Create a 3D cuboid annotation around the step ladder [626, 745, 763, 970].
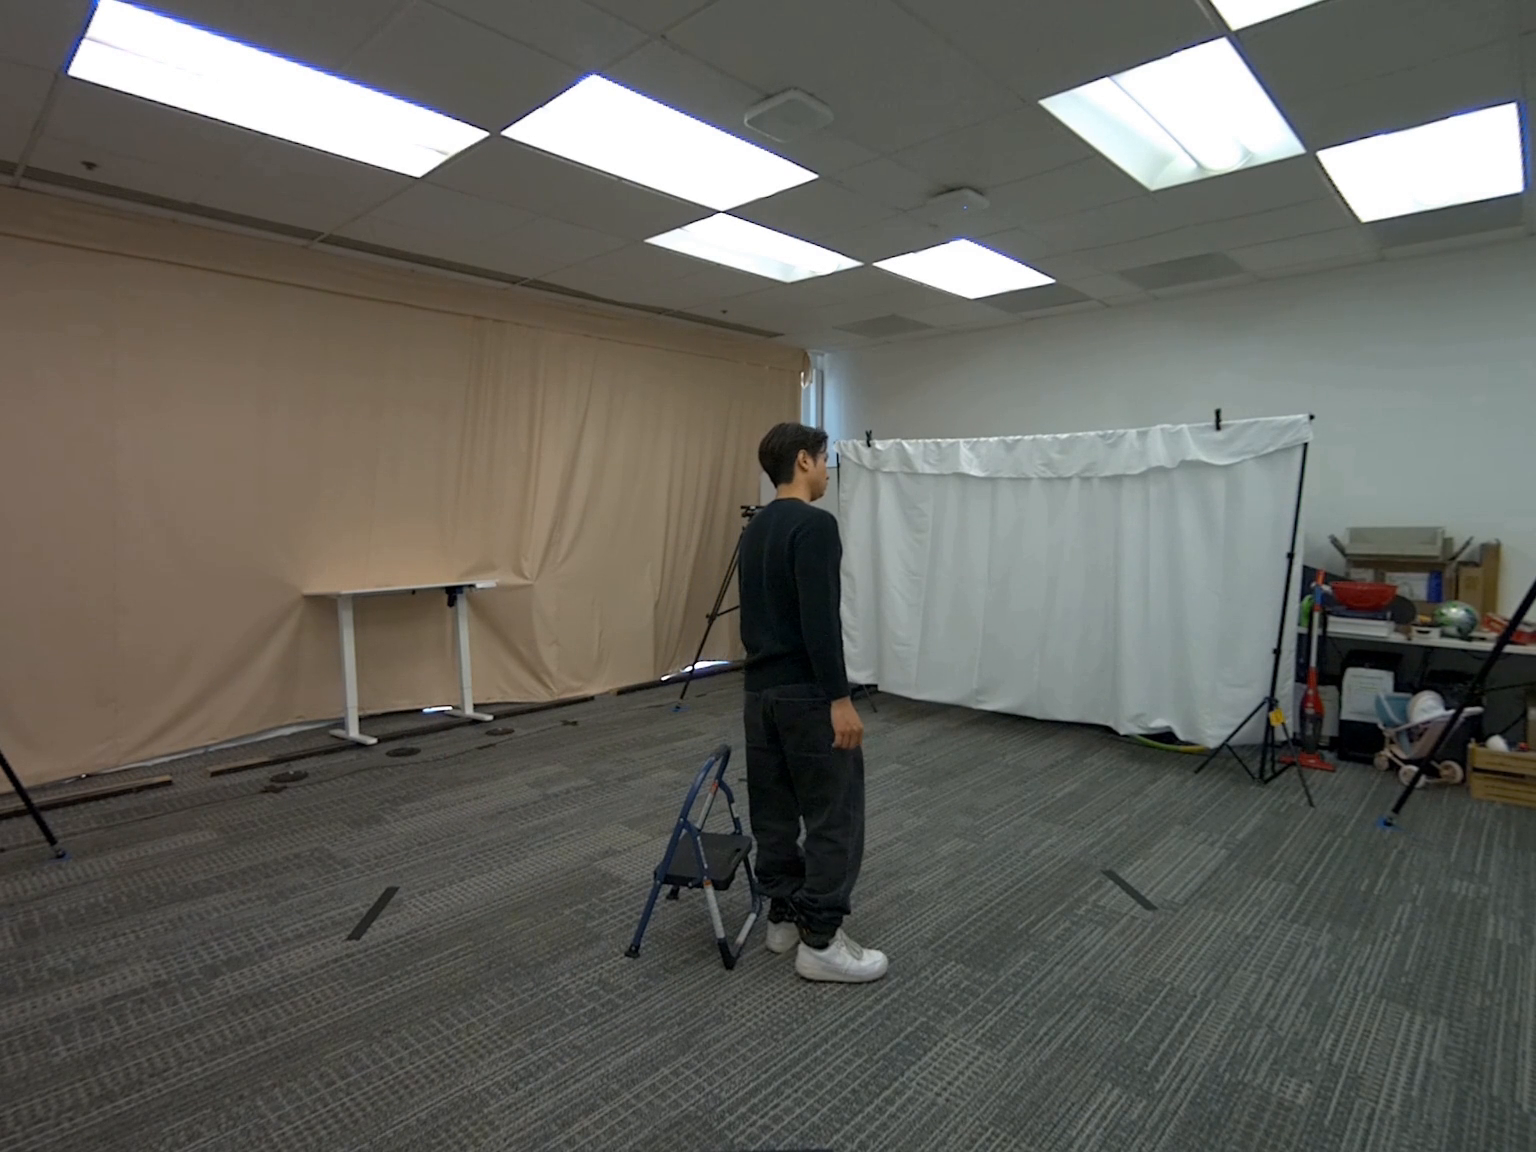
[{"bbox_3d":[-0.232,0.862,2.749,0.355,0.605,0.425,0,3,14],"label":"step ladder"}]
